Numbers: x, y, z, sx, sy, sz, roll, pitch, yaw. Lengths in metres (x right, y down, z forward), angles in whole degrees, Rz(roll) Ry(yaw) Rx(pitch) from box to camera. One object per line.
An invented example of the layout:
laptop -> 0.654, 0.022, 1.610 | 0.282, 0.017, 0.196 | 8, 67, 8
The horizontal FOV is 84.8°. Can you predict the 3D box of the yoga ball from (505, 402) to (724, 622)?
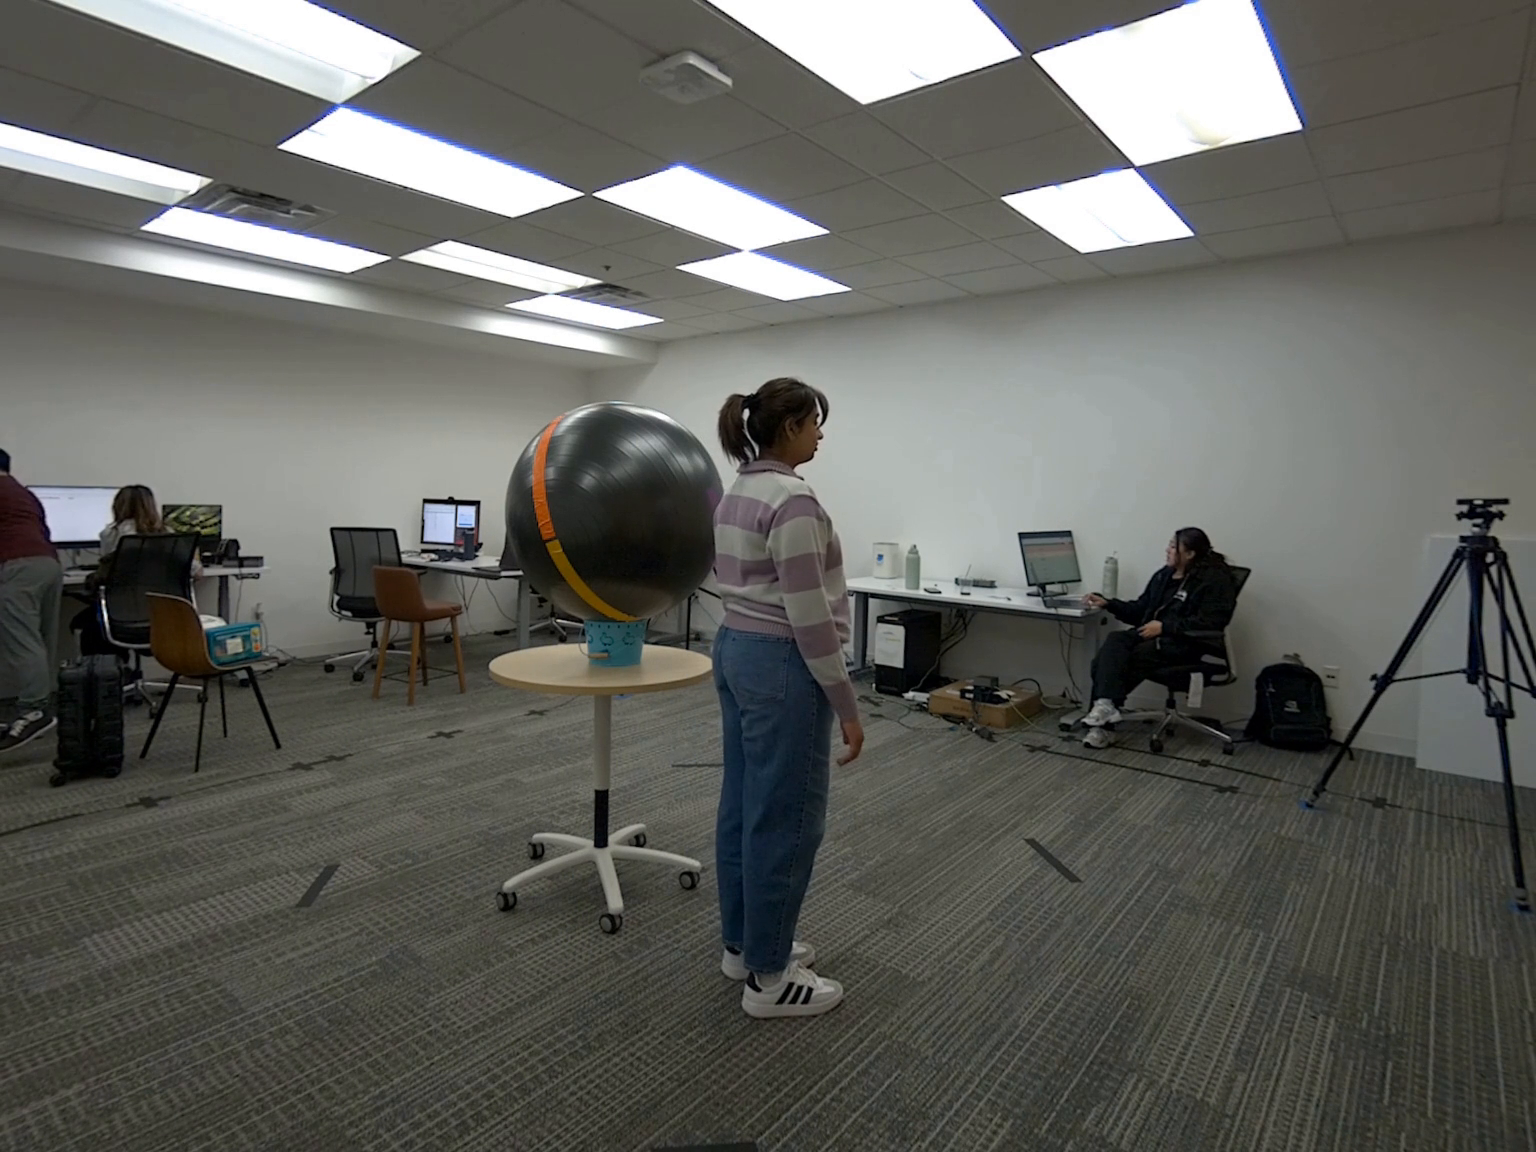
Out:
yoga ball -> -0.534, -0.215, 2.931 | 0.757, 0.755, 0.762 | 1, 4, -2
